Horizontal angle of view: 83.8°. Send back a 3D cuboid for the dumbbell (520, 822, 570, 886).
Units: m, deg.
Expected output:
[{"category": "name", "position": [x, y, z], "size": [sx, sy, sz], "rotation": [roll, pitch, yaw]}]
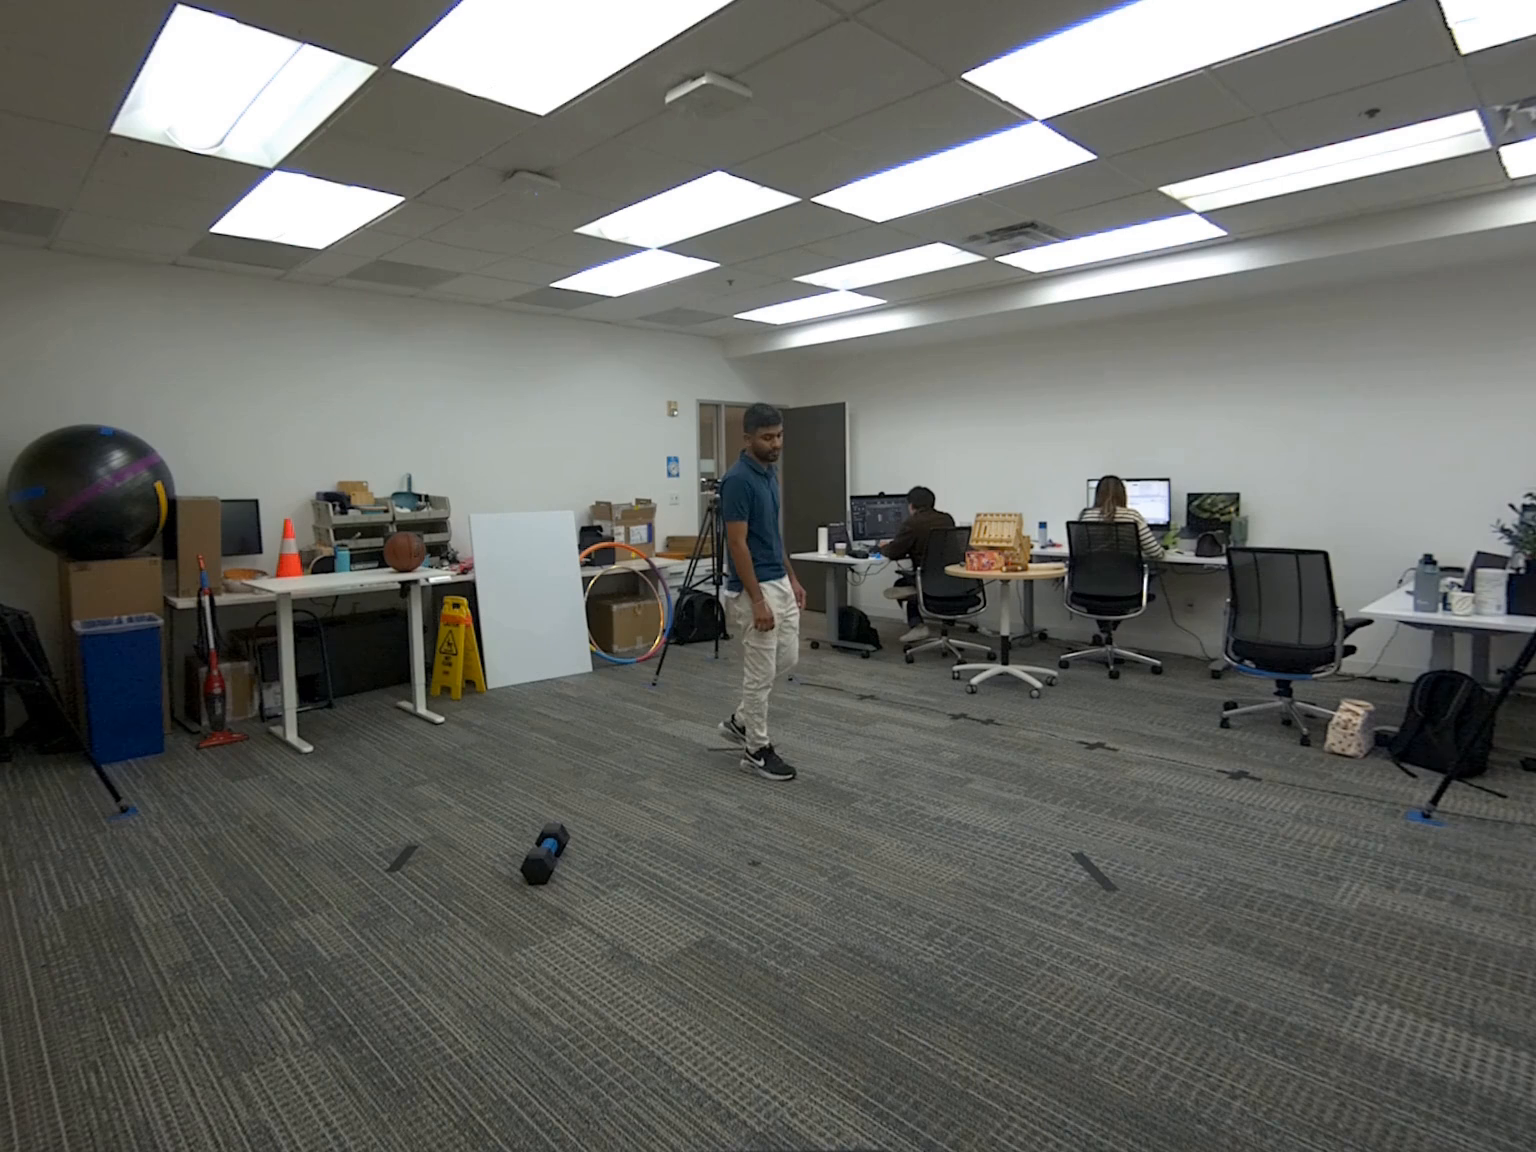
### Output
[{"category": "dumbbell", "position": [-0.804, 1.006, 3.104], "size": [0.109, 0.122, 0.295], "rotation": [-31, 6, 2]}]
